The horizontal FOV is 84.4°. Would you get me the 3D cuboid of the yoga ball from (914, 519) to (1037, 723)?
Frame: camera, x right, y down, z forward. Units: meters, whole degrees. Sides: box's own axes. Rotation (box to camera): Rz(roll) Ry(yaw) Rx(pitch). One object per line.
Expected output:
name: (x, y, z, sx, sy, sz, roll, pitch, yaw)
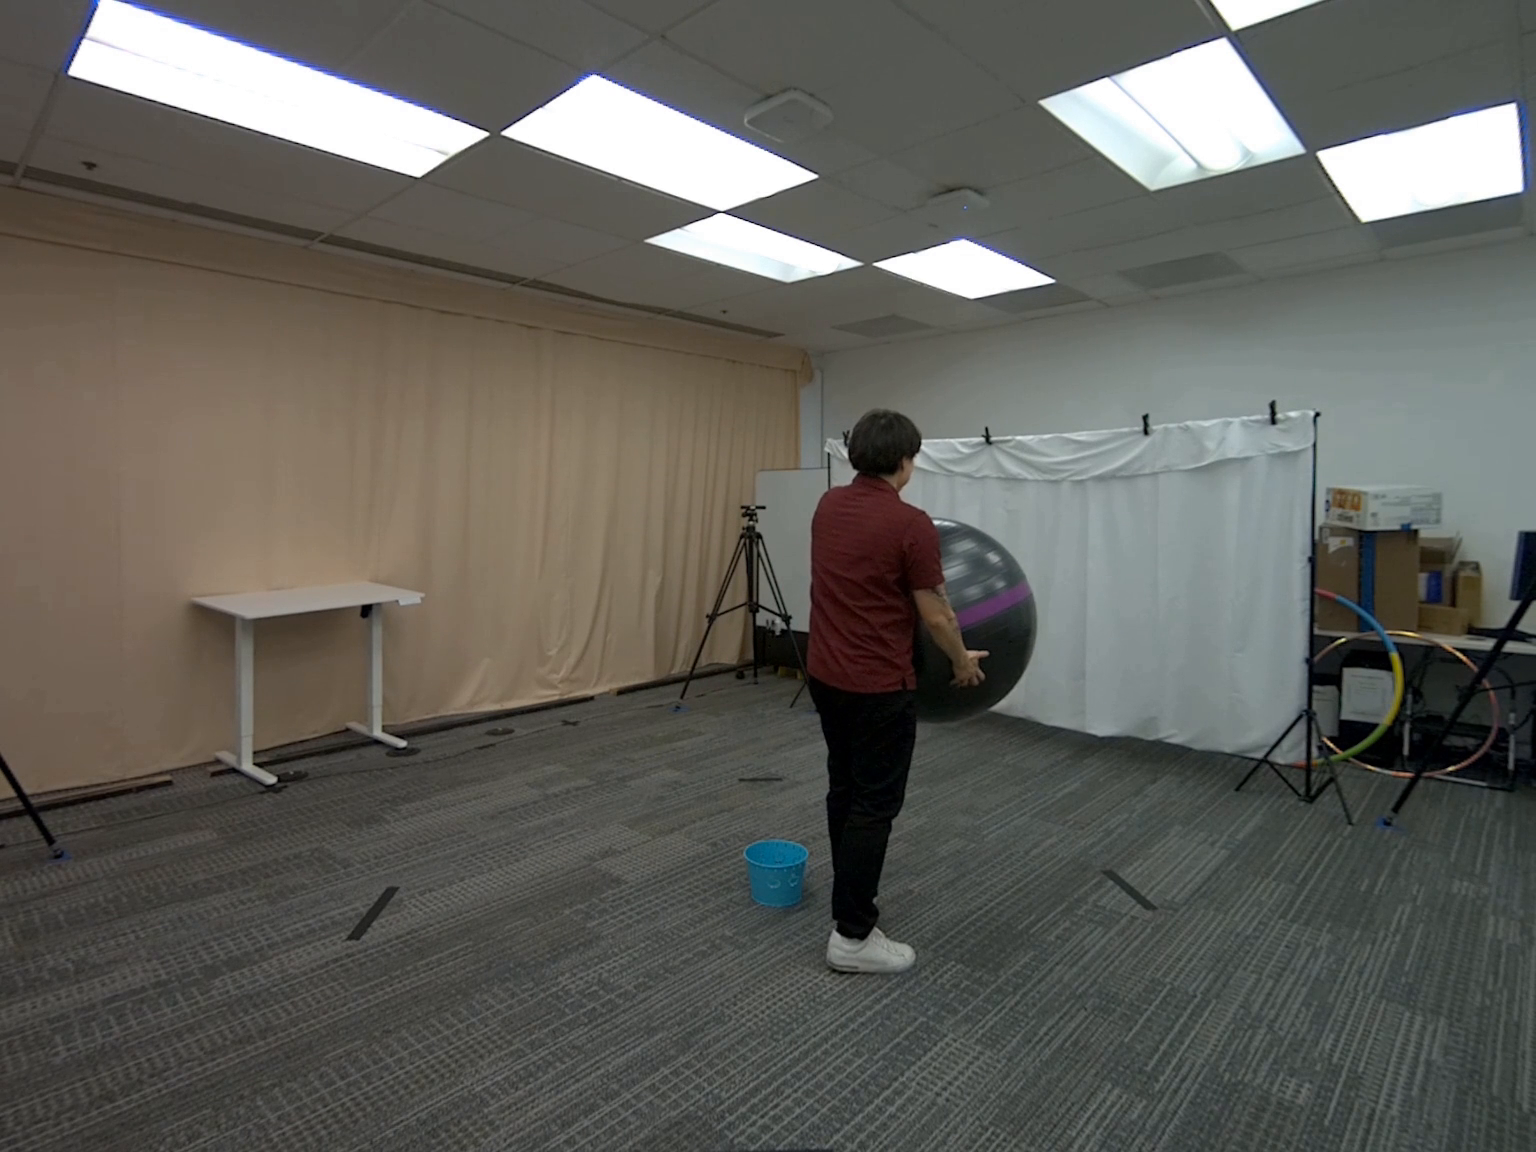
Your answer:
yoga ball: (0.623, 0.170, 3.150, 0.757, 0.756, 0.761, 0, 4, -2)
